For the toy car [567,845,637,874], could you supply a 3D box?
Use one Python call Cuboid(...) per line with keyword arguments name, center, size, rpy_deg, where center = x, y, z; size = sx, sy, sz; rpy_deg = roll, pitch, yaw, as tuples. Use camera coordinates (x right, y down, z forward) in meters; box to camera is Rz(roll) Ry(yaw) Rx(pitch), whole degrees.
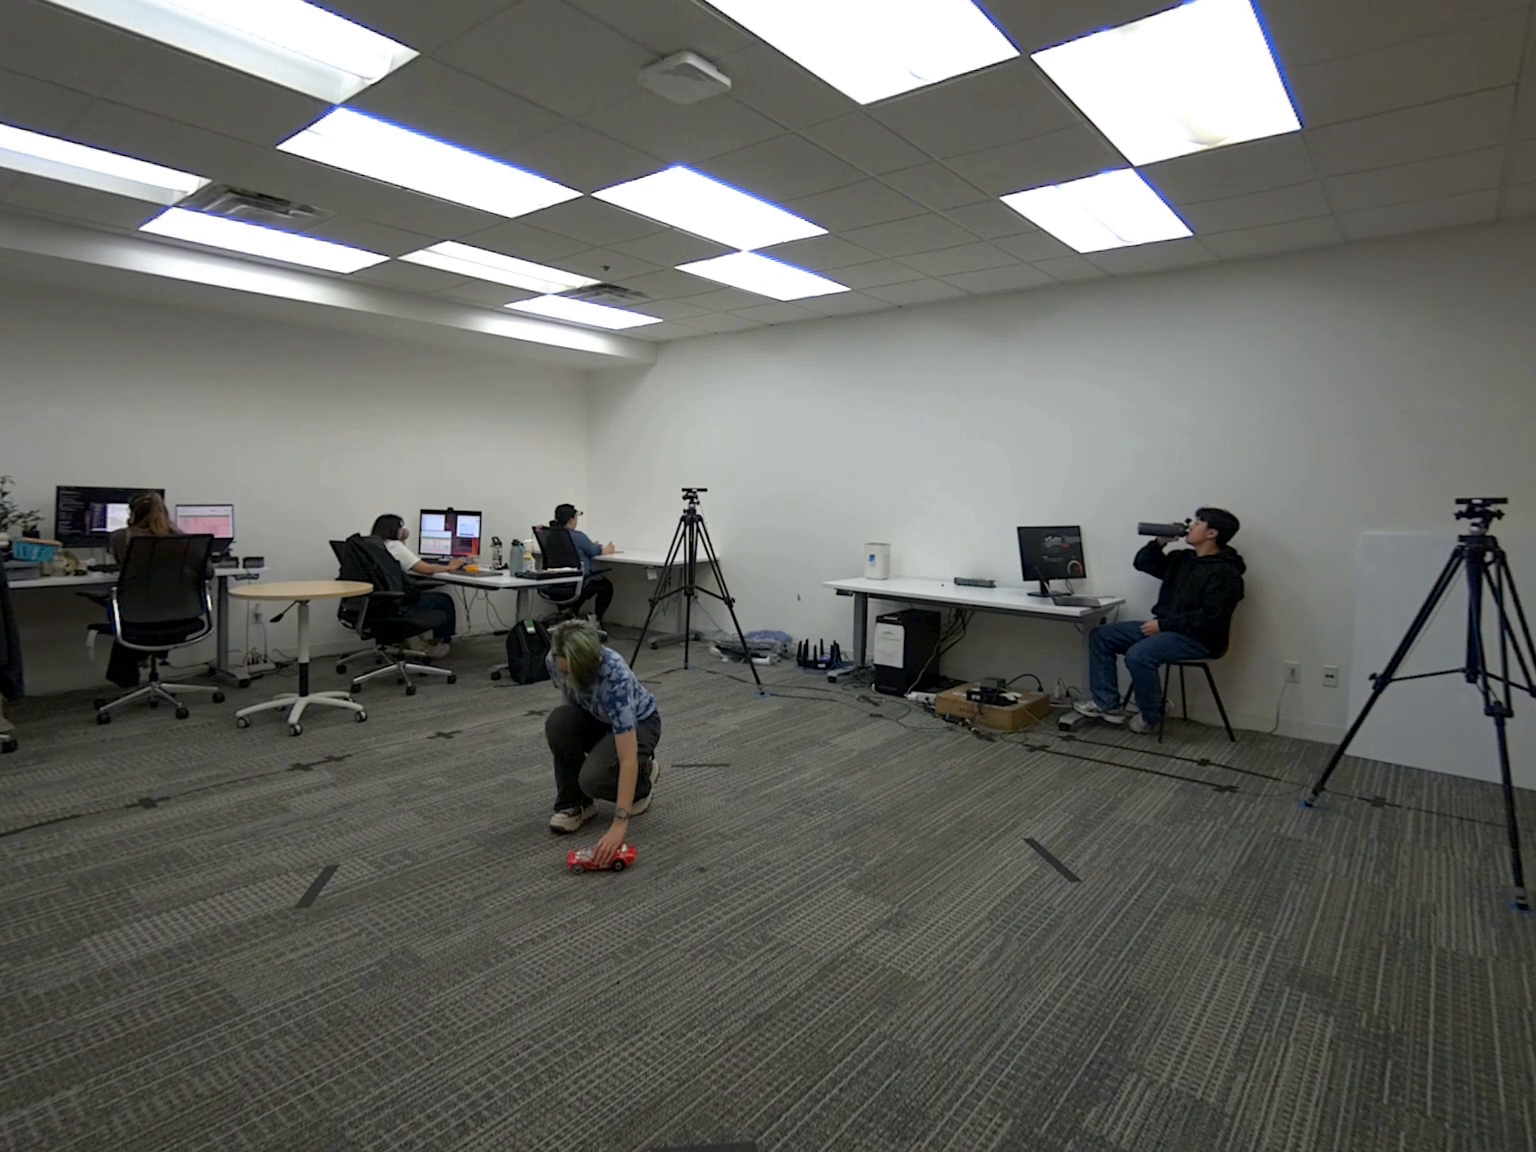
Cuboid(name="toy car", center=(-0.617, 1.036, 3.122), size=(0.252, 0.083, 0.132), rpy_deg=(-11, 7, -11))
